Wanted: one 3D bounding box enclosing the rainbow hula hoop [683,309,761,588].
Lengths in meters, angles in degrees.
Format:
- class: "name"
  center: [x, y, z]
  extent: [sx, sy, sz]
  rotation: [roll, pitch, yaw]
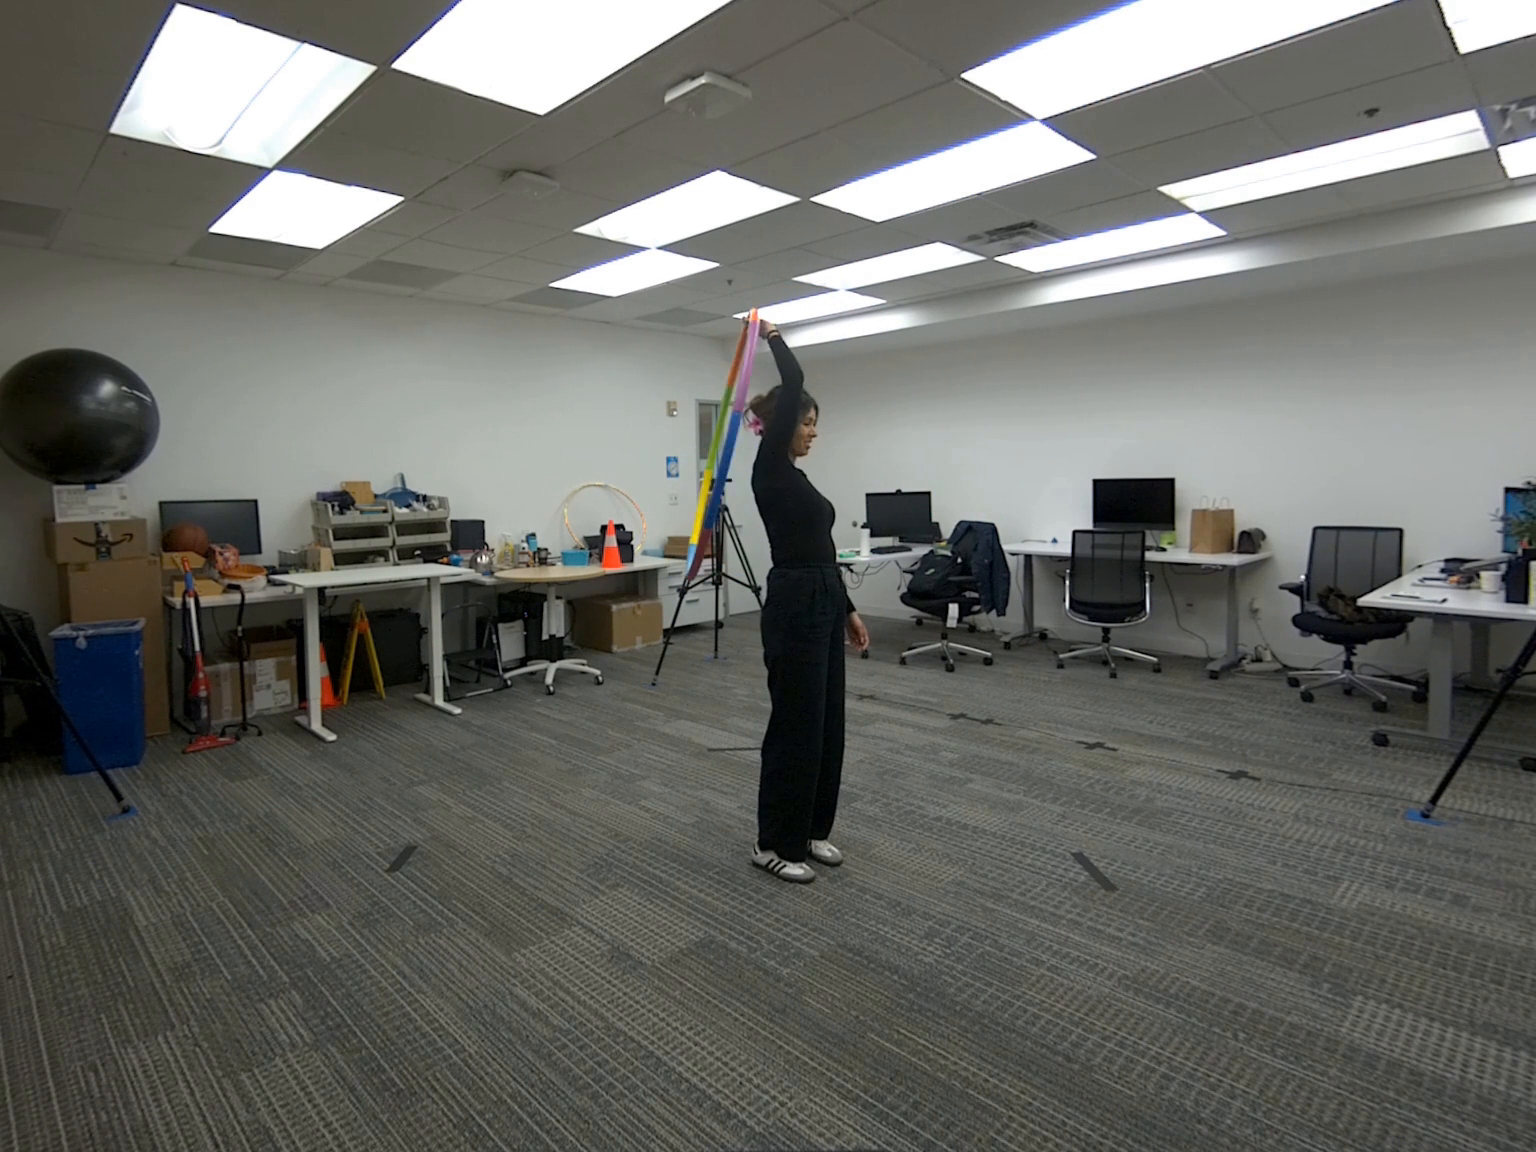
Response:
- class: "rainbow hula hoop"
  center: [-0.159, -0.465, 3.079]
  extent: [0.051, 0.983, 0.994]
  rotation: [13, 3, -8]
